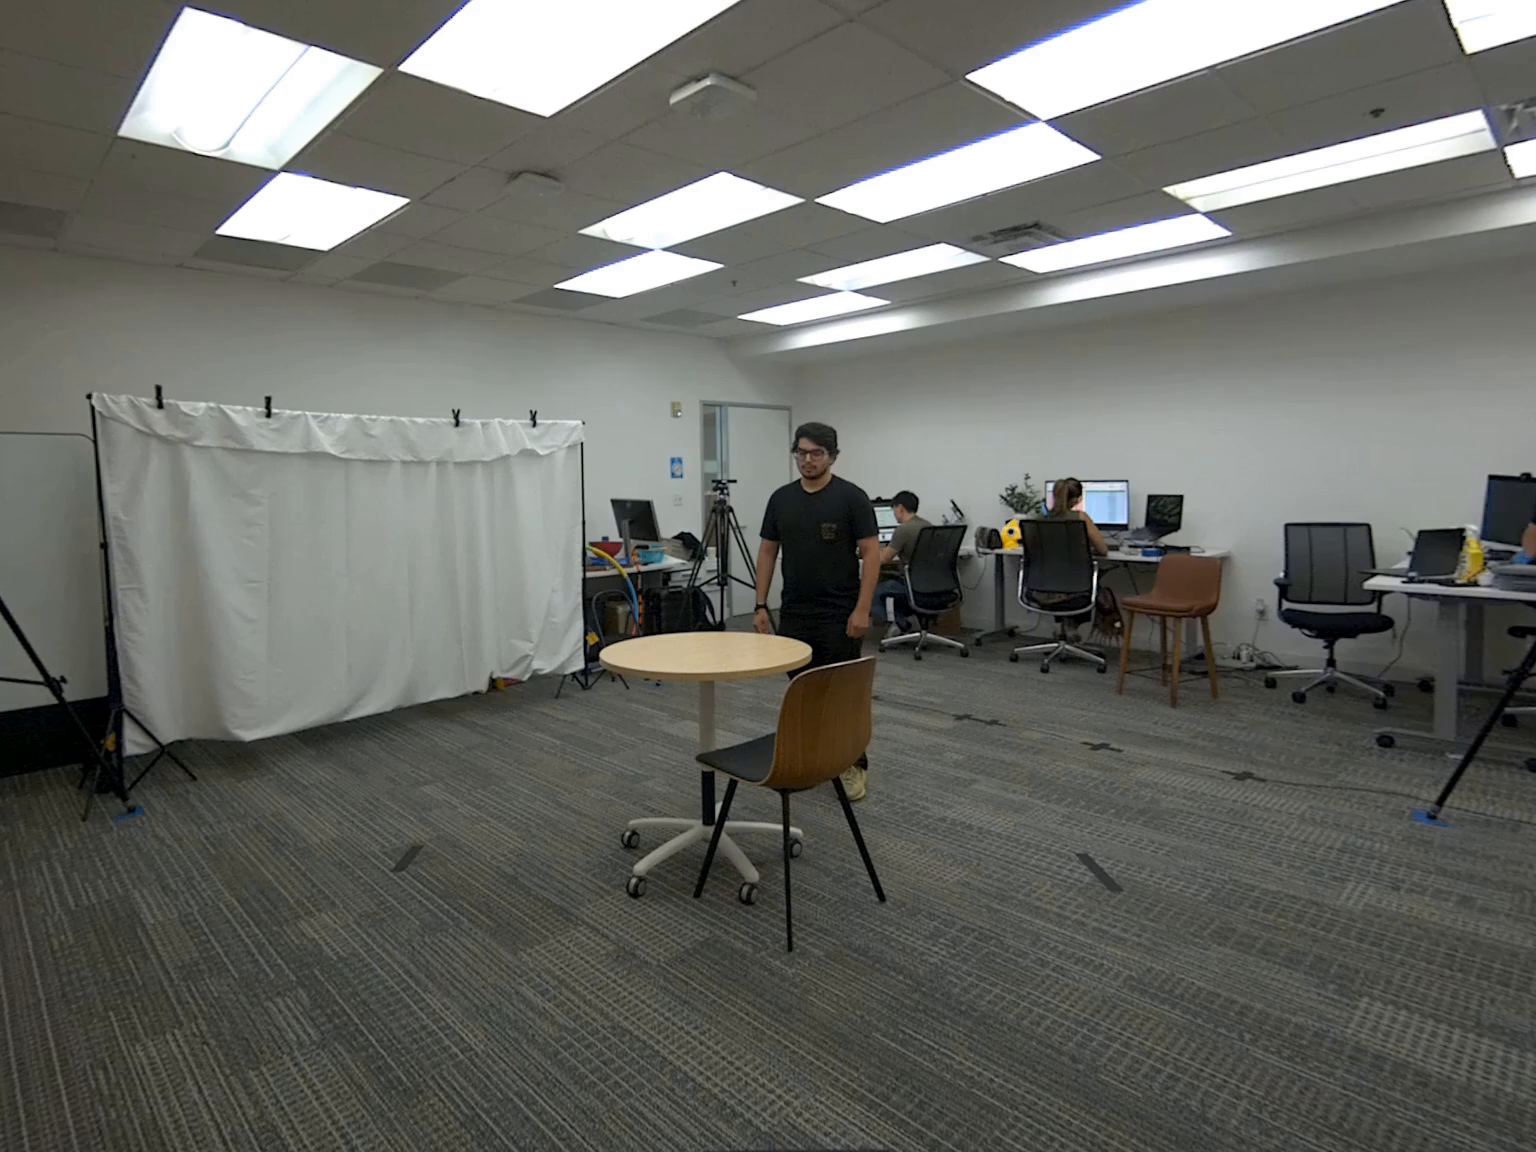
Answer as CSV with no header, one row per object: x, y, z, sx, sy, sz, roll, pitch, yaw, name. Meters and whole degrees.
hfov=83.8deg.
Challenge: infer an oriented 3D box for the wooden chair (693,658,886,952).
0.057,0.648,2.818,0.466,0.871,0.540,-6,10,-42,wooden chair
